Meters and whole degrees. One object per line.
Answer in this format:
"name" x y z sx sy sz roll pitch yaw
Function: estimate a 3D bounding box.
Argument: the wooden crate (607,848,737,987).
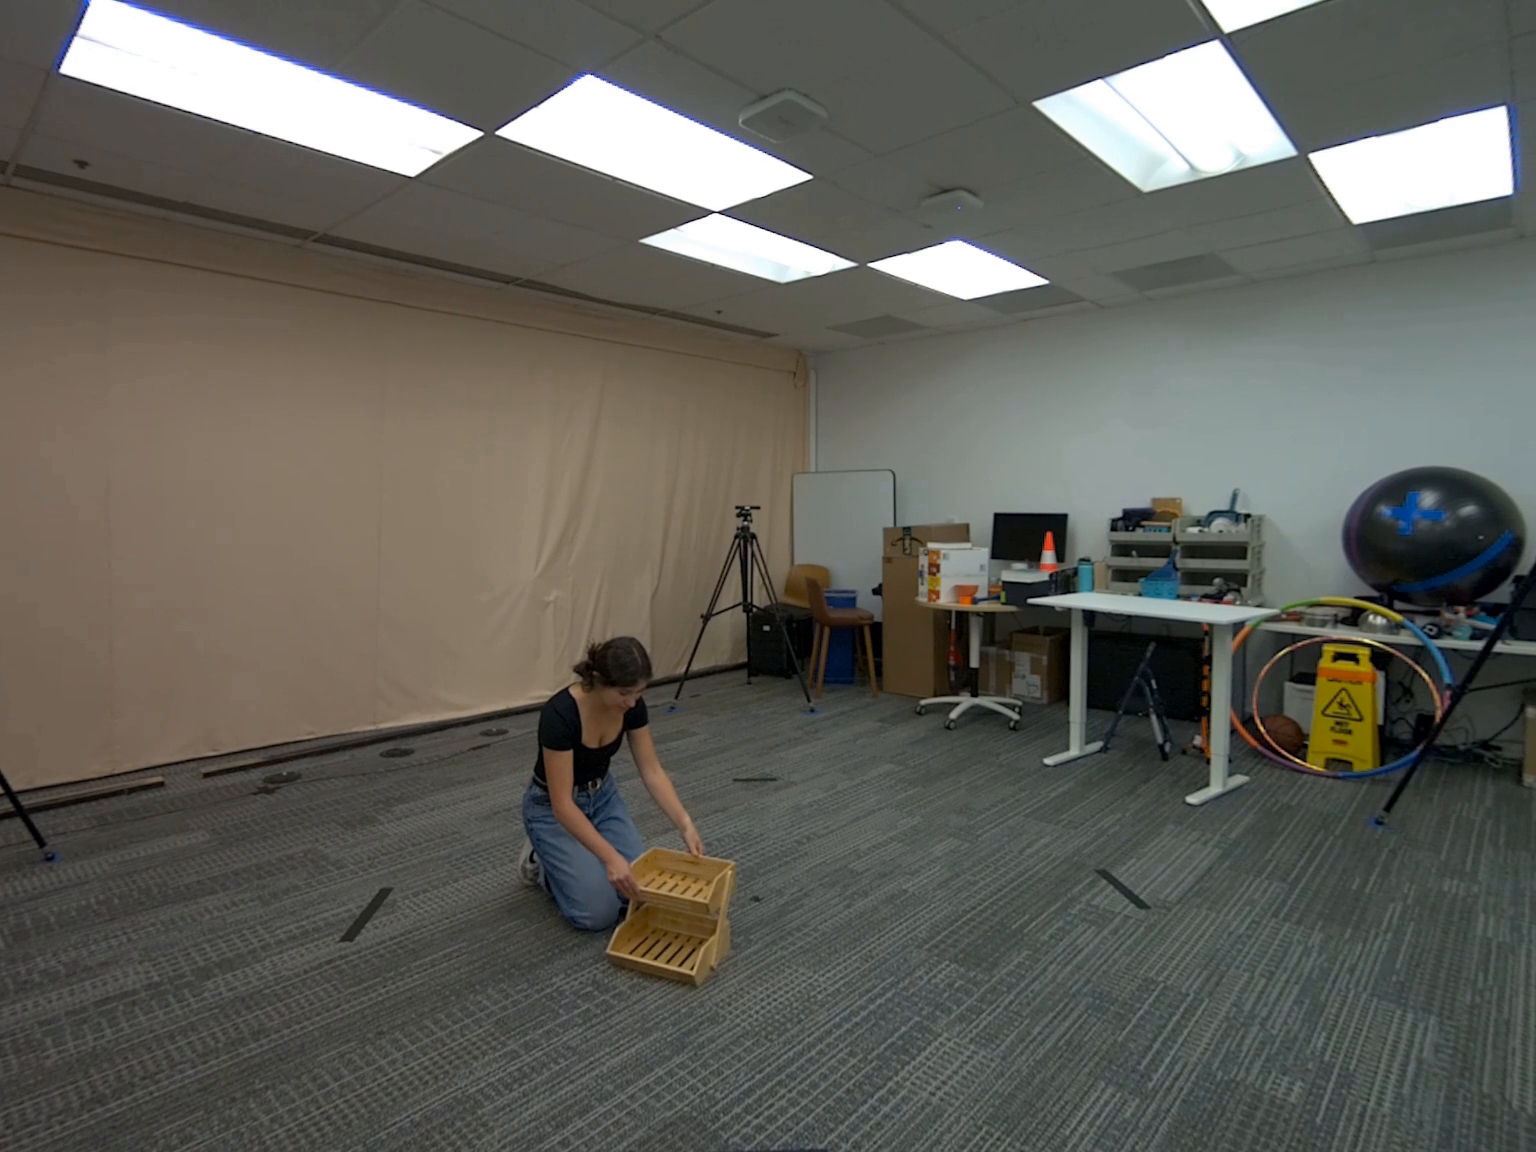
"wooden crate" -0.294 1.043 2.605 0.332 0.273 0.295 1 3 22
